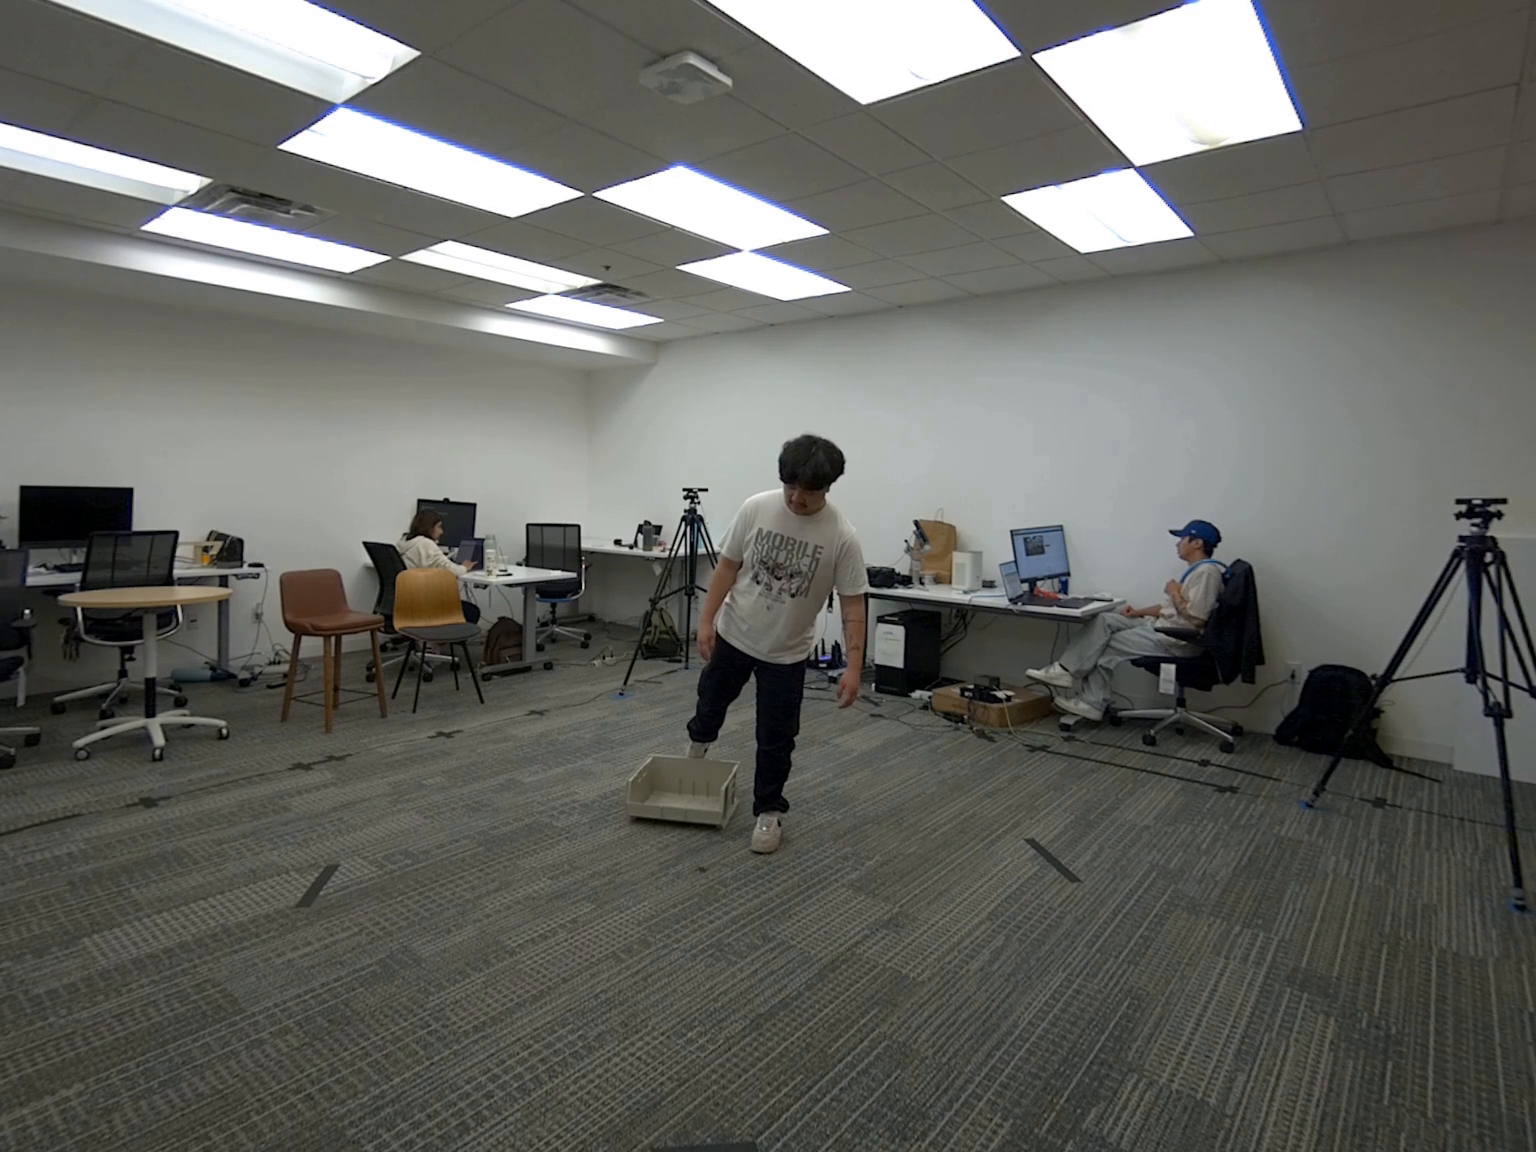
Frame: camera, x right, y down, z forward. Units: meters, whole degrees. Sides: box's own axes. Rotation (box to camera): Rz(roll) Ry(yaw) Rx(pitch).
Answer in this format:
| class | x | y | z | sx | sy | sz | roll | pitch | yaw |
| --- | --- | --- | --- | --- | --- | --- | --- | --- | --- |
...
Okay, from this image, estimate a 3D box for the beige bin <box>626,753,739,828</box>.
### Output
| class | x | y | z | sx | sy | sz | roll | pitch | yaw |
| --- | --- | --- | --- | --- | --- | --- | --- | --- | --- |
| beige bin | -0.372 | 0.928 | 3.652 | 0.427 | 0.188 | 0.374 | 1 | 4 | 10 |
